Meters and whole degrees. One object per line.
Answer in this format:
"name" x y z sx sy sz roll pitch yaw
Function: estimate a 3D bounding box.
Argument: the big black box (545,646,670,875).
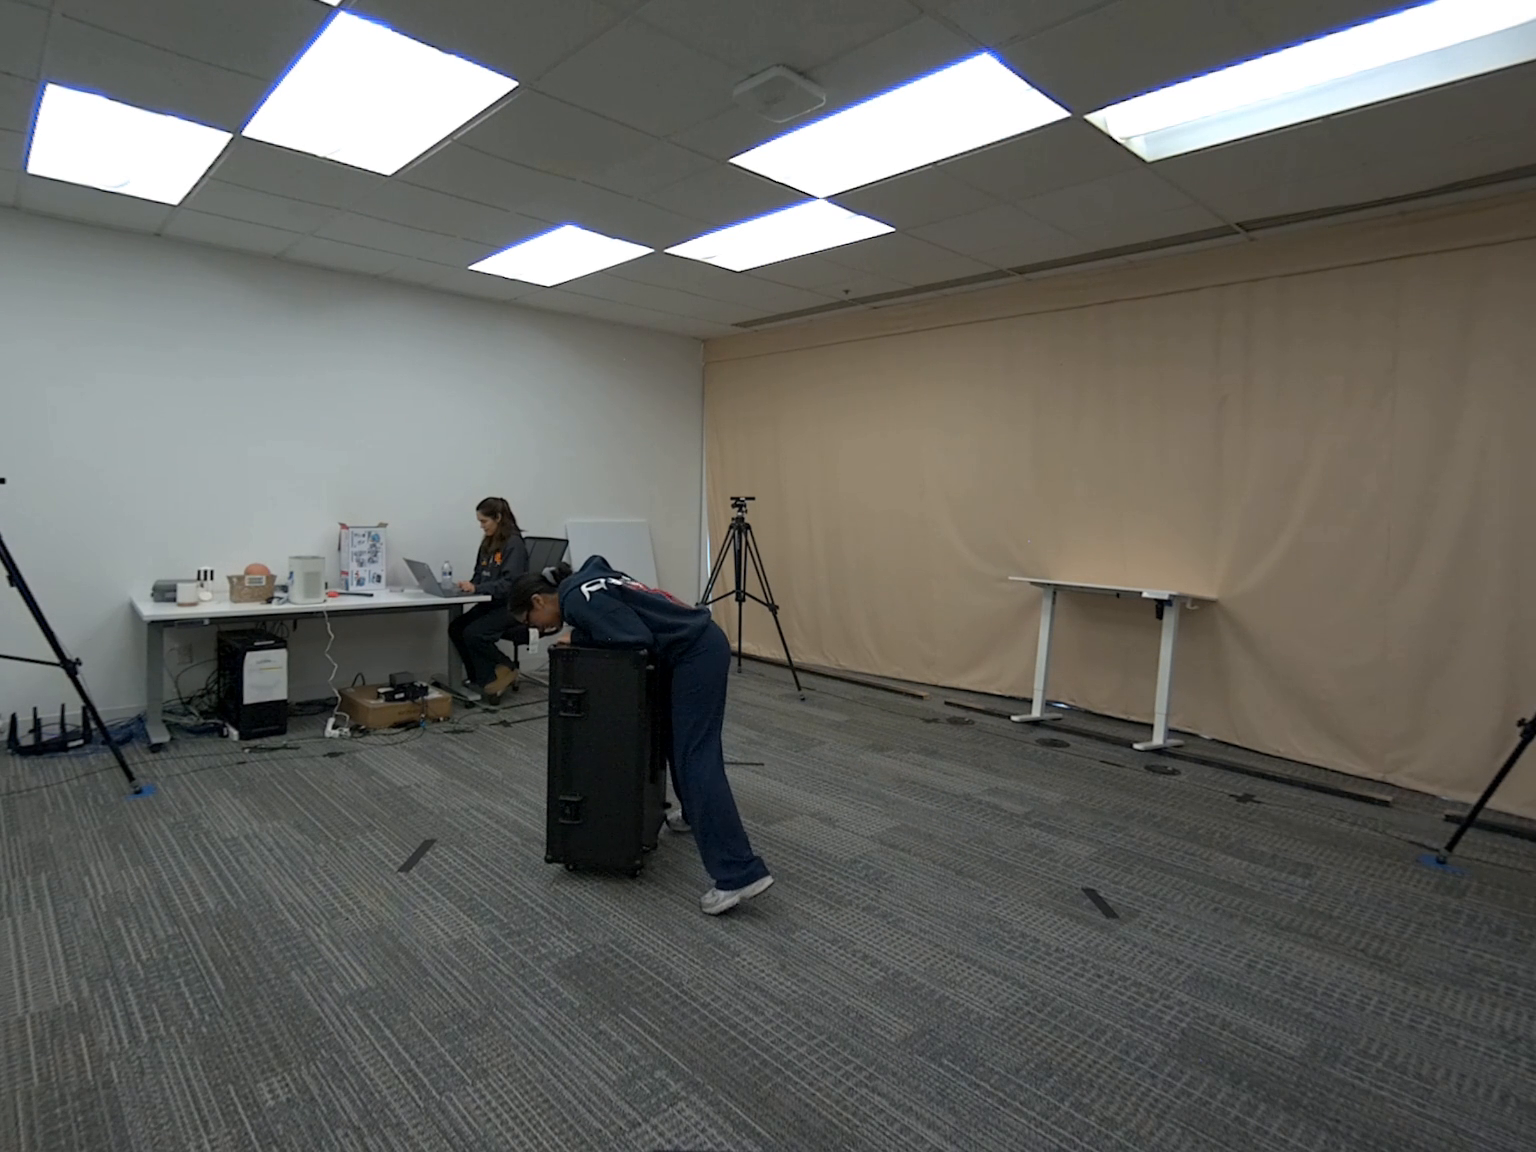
"big black box" -0.598 0.665 3.218 0.398 0.860 0.520 3 3 5
